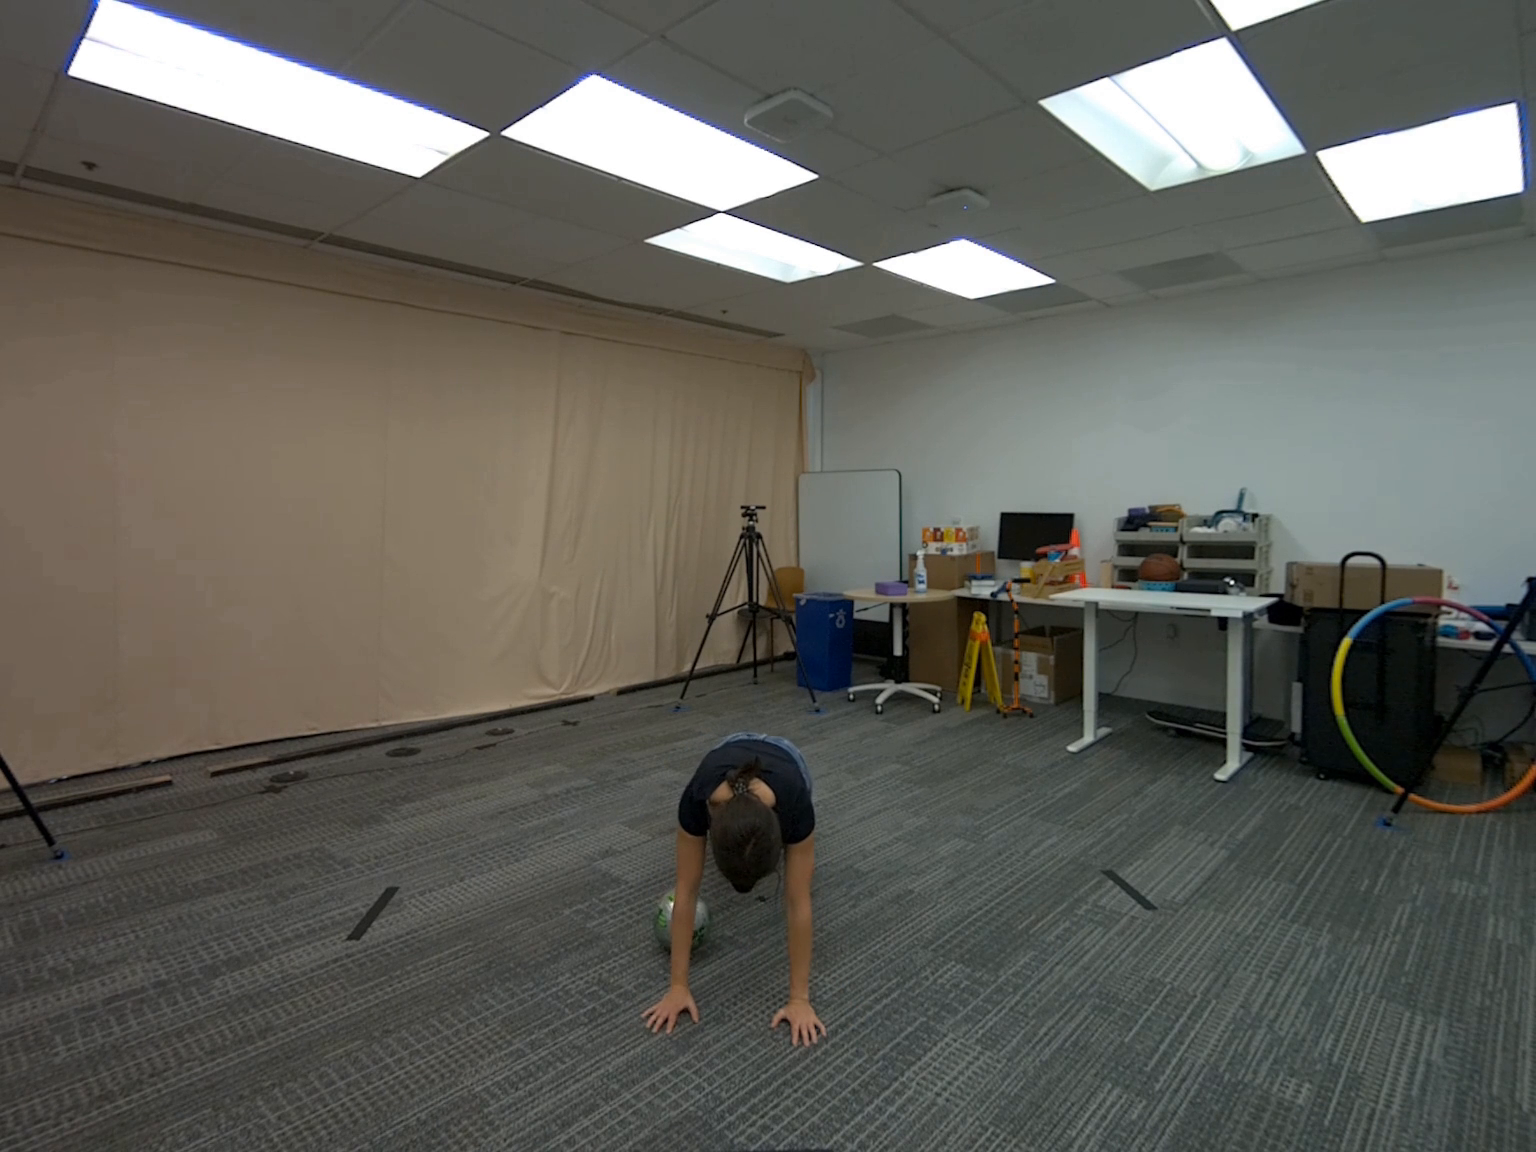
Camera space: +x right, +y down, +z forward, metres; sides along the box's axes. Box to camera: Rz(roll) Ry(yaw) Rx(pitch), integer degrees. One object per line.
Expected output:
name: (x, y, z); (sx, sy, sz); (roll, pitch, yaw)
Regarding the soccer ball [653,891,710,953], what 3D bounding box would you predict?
soccer ball: (-0.267, 1.072, 2.648); (0.187, 0.187, 0.188); (0, 4, -2)
